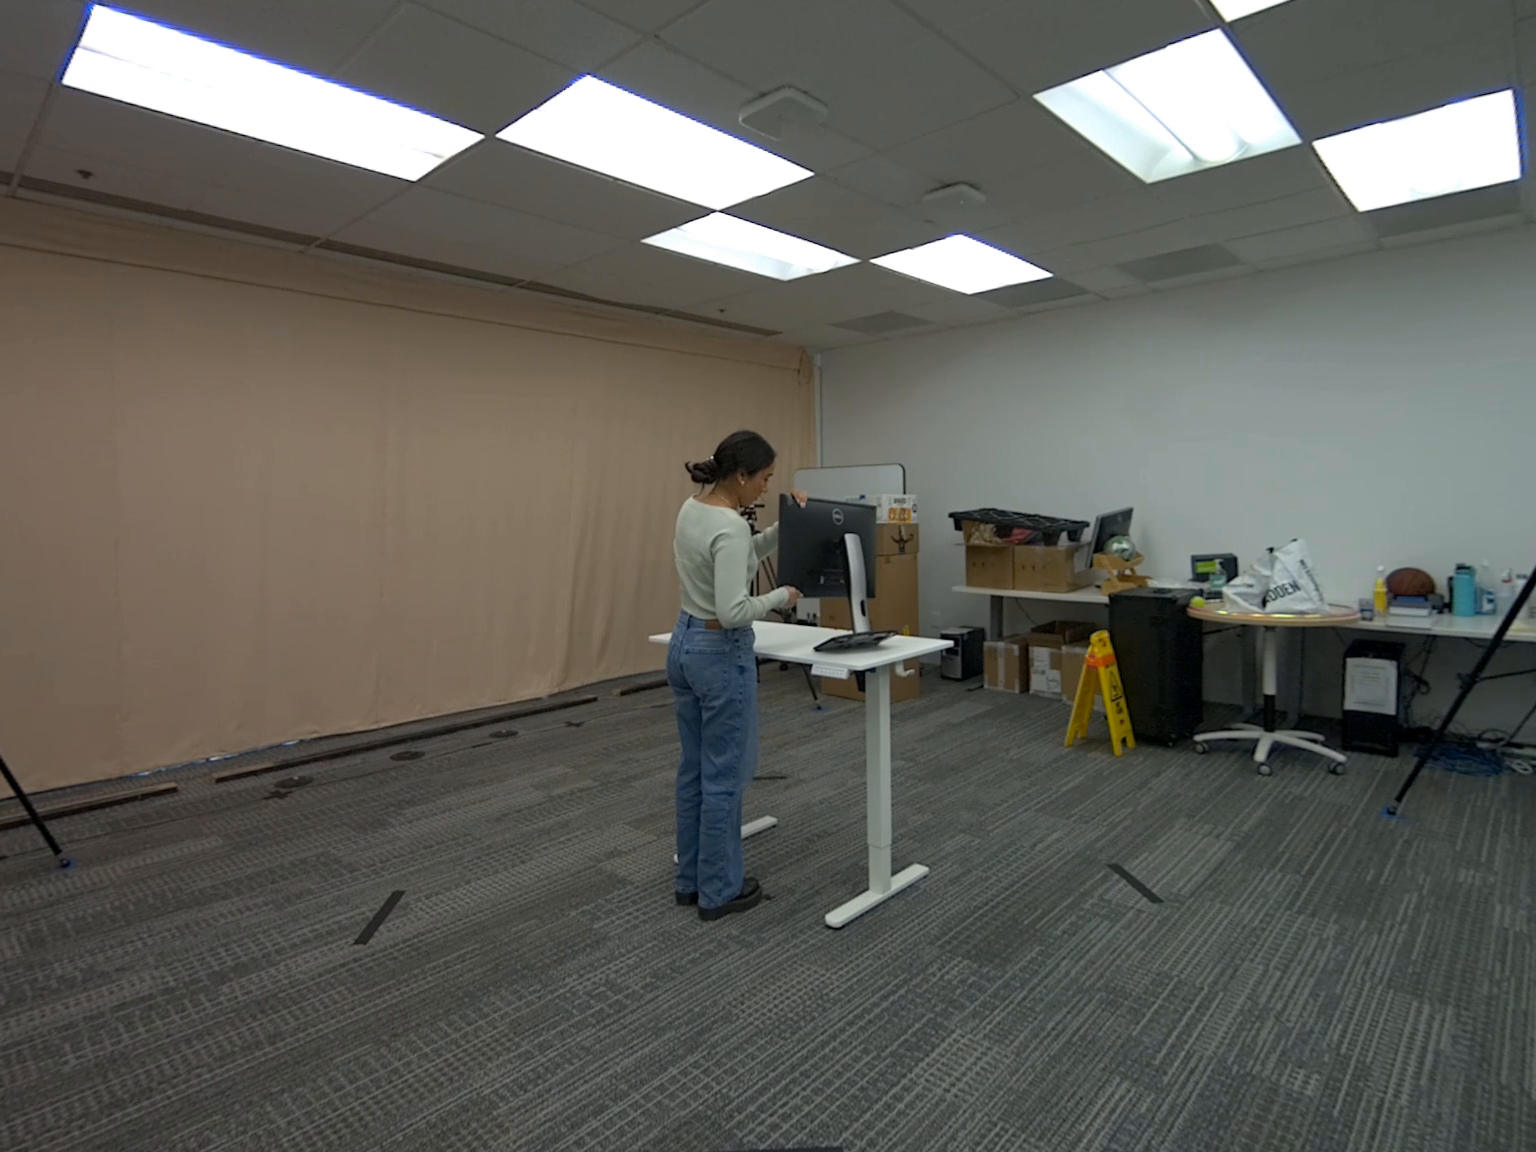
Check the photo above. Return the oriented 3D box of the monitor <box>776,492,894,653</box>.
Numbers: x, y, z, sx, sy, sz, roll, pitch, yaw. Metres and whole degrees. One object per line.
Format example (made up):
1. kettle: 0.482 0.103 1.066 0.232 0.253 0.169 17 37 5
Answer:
1. monitor: 0.267 -0.016 2.954 0.521 0.528 0.191 3 -17 -45
